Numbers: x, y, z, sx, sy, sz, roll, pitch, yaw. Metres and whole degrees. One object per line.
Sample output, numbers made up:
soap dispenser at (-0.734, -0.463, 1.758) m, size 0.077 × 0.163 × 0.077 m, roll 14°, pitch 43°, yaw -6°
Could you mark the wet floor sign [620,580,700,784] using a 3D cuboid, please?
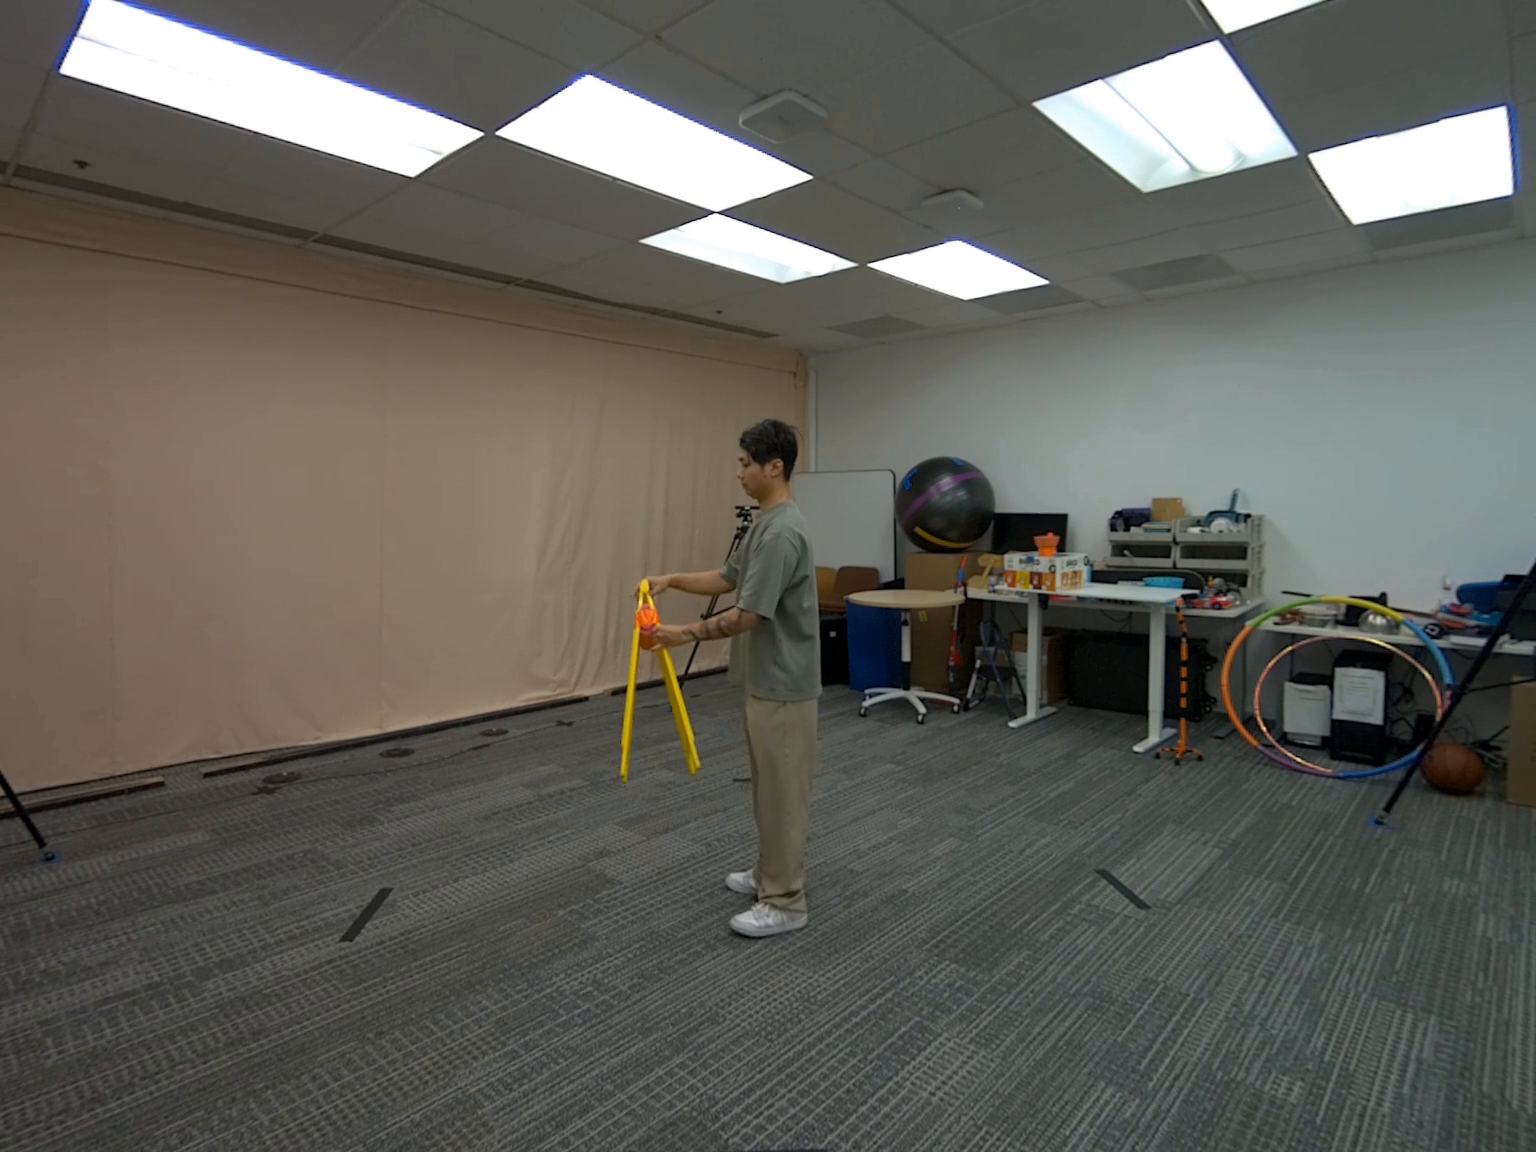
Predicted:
wet floor sign at (-0.395, 0.360, 2.862) m, size 0.287 × 0.654 × 0.281 m, roll -5°, pitch -18°, yaw -8°
